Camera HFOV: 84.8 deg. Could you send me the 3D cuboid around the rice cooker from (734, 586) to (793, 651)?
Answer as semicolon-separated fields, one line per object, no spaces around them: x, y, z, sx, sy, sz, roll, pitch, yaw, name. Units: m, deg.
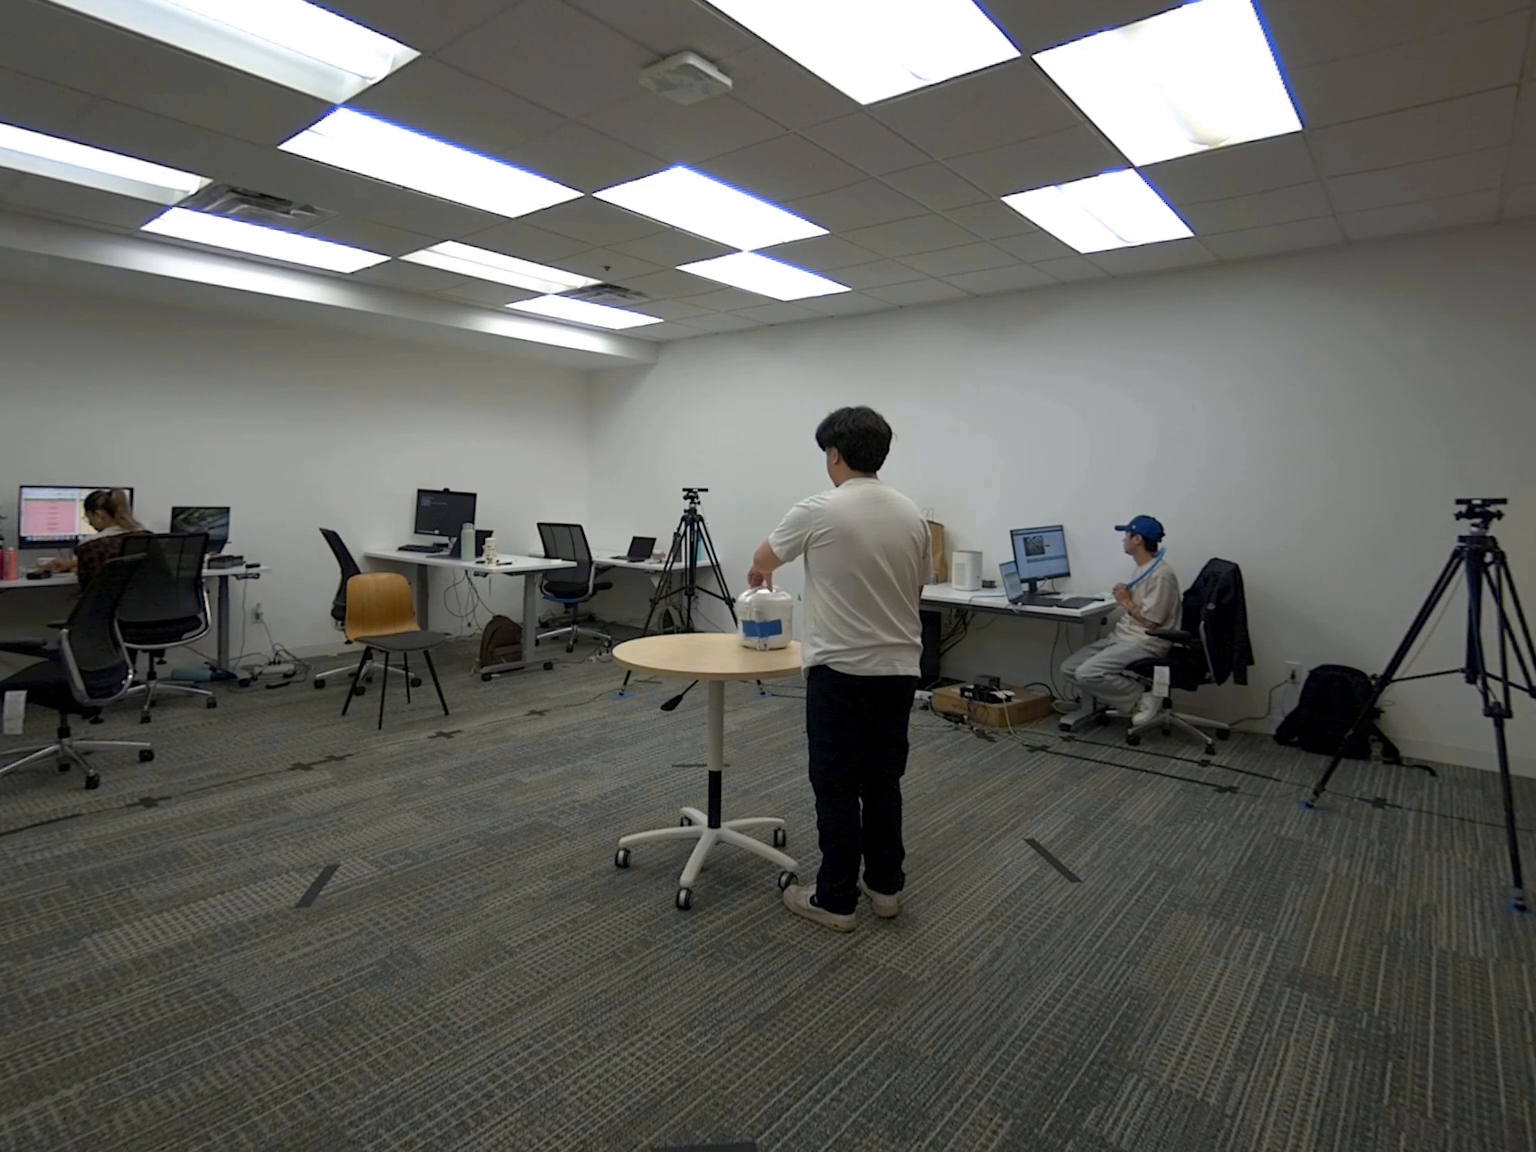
-0.022;0.148;3.231;0.214;0.232;0.225;-1;4;-37;rice cooker
